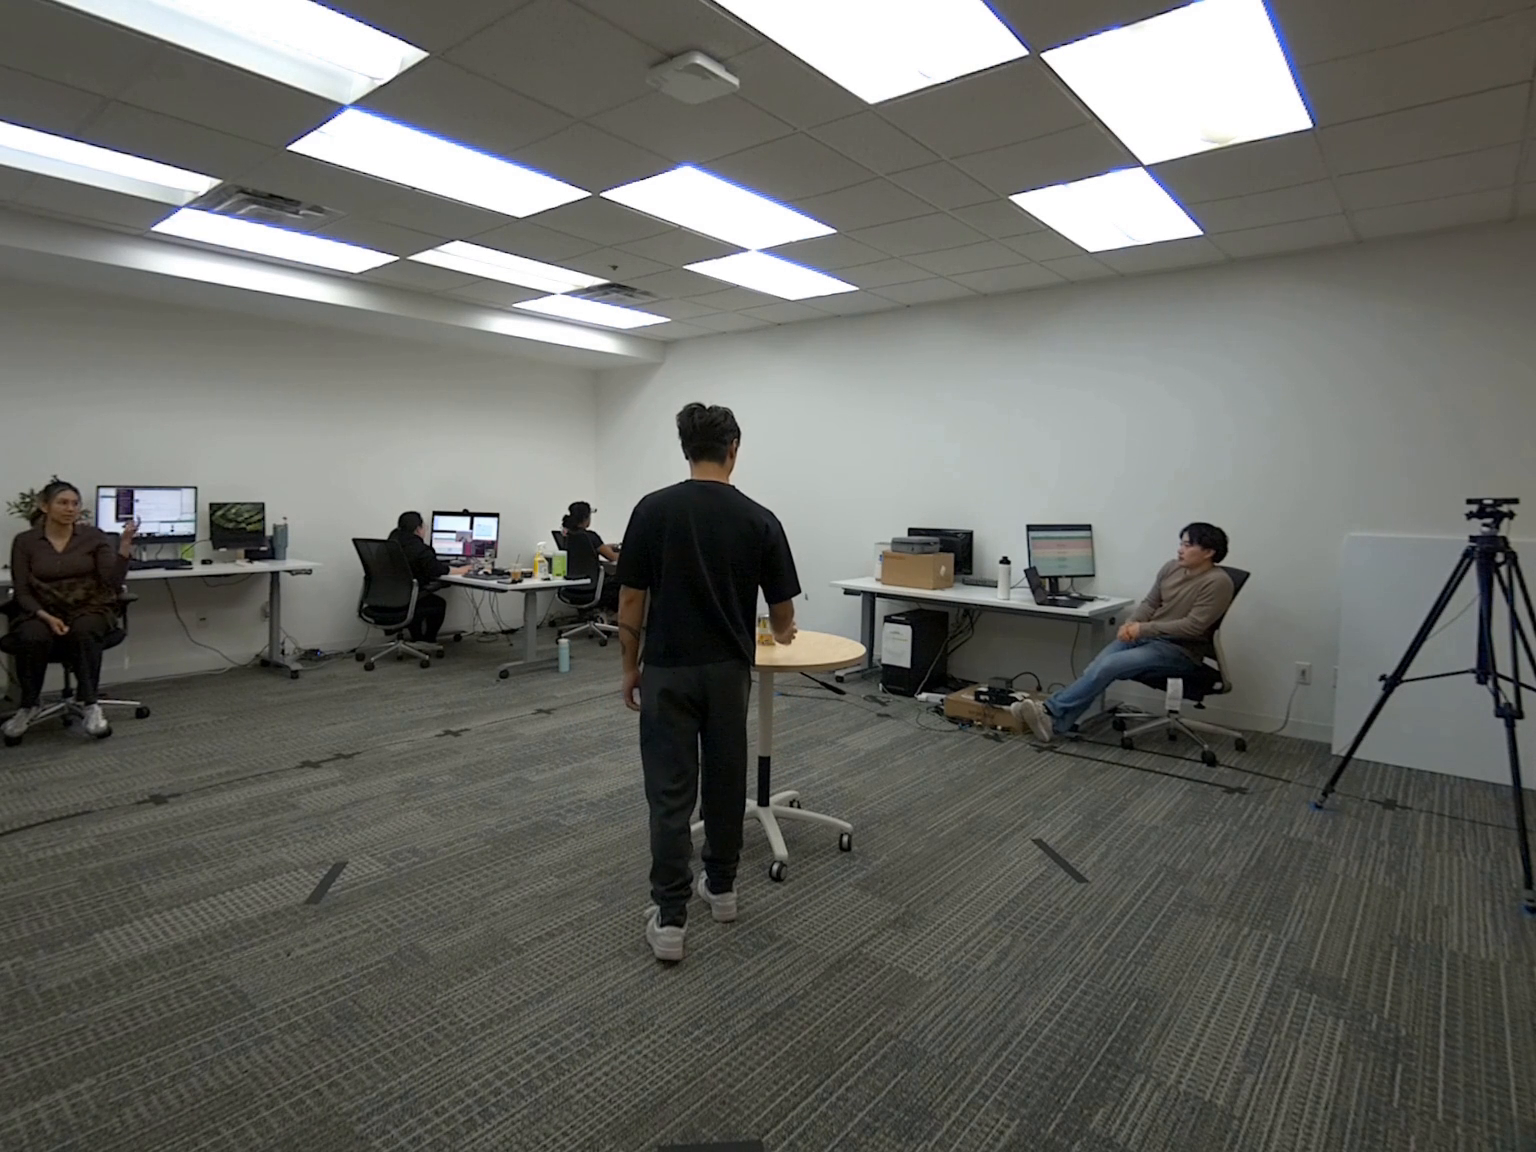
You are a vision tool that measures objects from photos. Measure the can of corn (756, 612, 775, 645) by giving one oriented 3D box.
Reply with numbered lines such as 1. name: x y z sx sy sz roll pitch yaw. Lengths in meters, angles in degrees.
1. can of corn: -0.015 0.206 3.335 0.074 0.111 0.074 -1 4 -2
